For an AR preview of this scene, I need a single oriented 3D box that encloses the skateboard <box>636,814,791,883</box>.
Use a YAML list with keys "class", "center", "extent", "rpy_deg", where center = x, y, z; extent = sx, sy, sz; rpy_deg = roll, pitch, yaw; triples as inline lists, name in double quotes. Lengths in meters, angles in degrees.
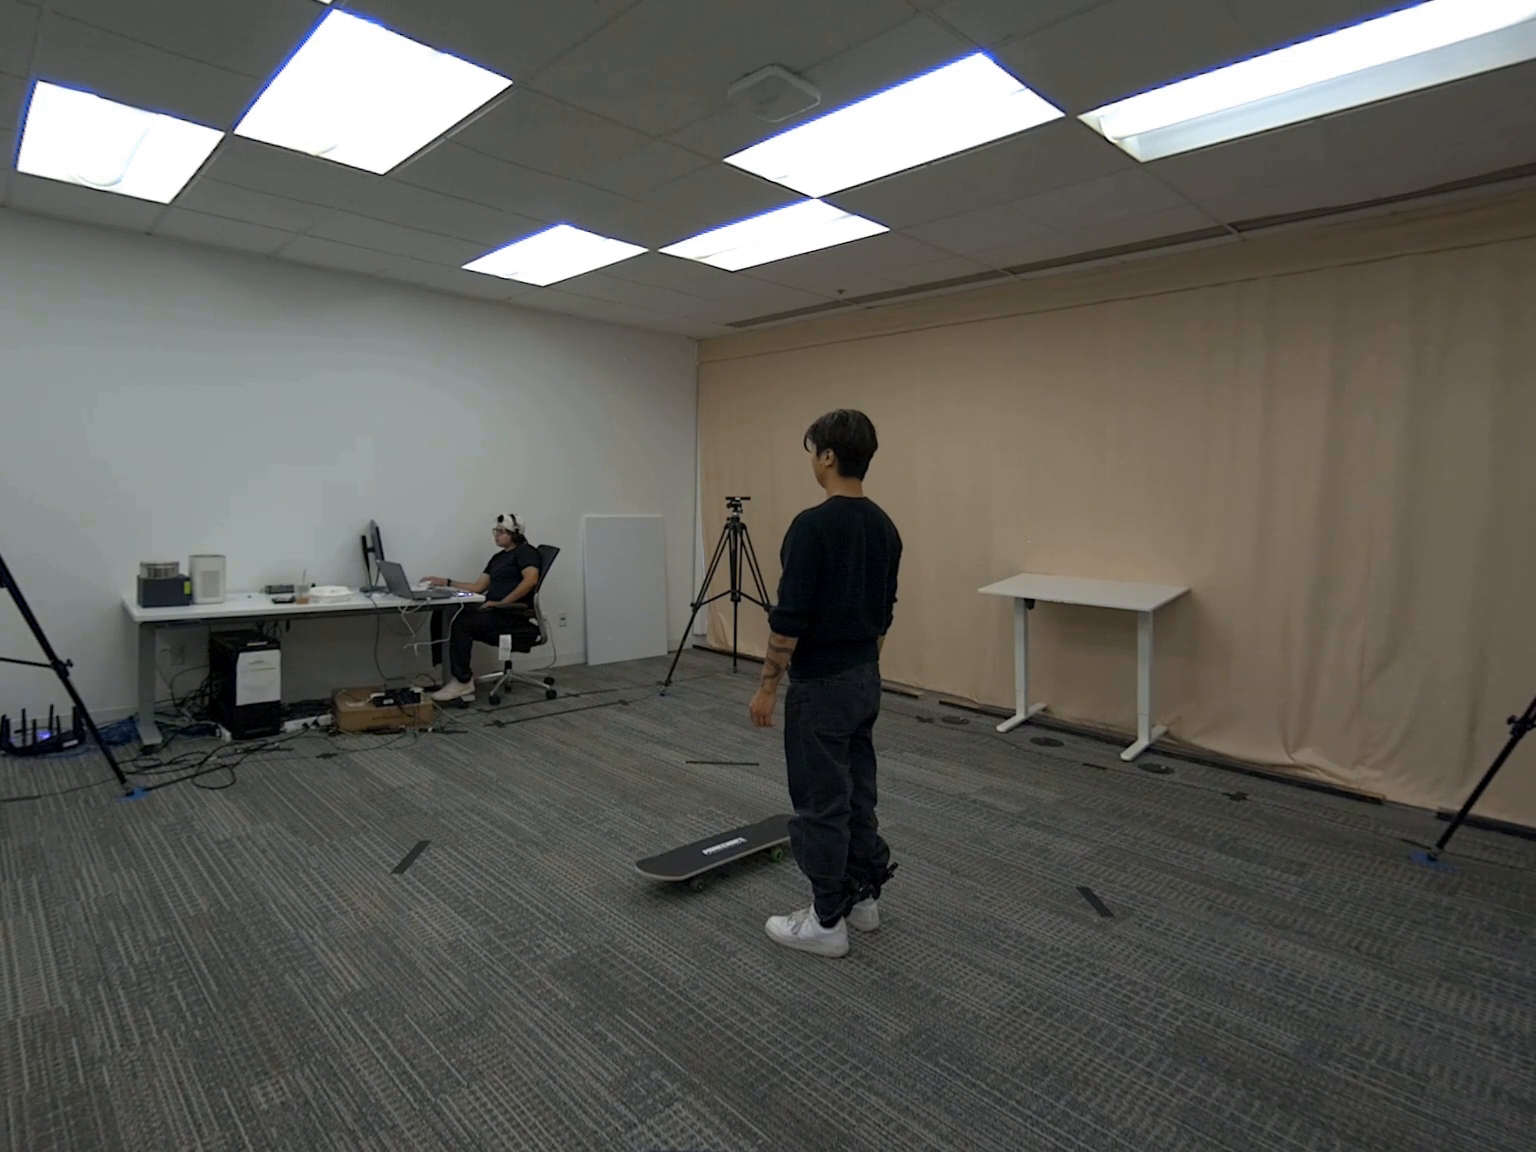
- class: "skateboard"
  center: [-0.166, 1.042, 3.155]
  extent: [0.767, 0.110, 0.198]
  rpy_deg: [-3, 6, -44]
